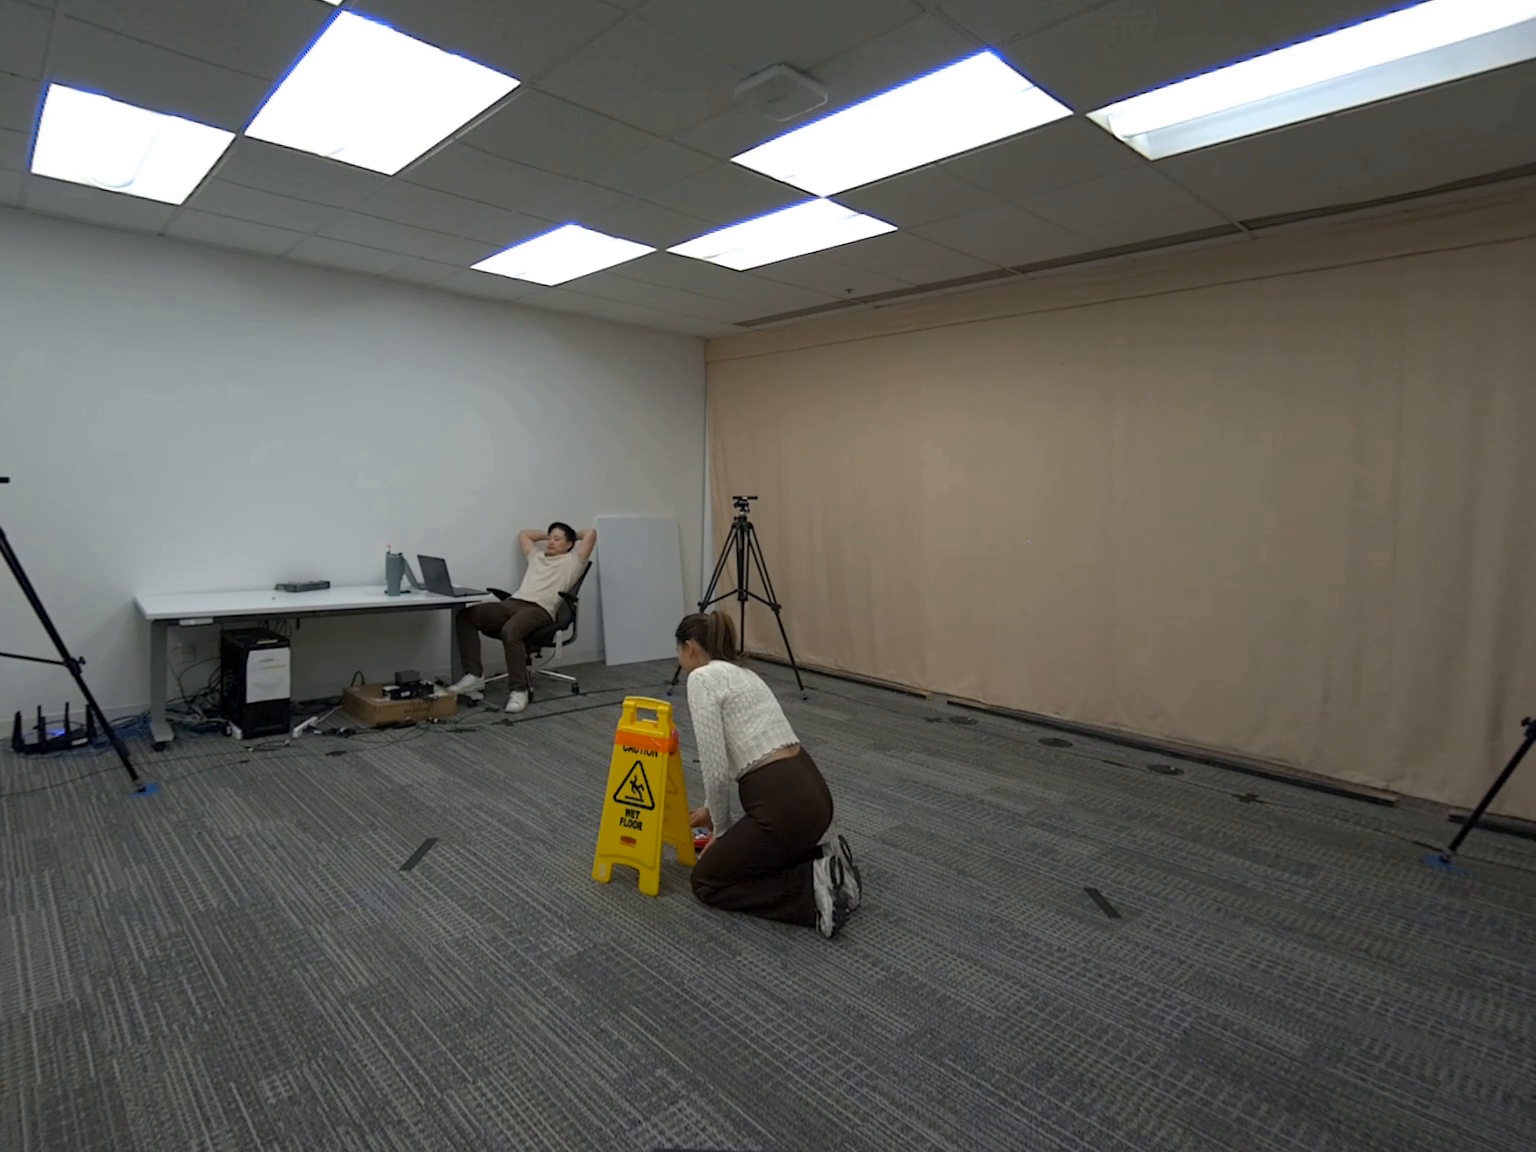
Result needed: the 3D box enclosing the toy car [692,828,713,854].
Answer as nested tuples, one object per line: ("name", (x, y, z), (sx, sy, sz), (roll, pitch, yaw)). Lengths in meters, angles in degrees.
("toy car", (-0.296, 1.041, 3.416), (0.129, 0.082, 0.260), (1, 16, -14))
